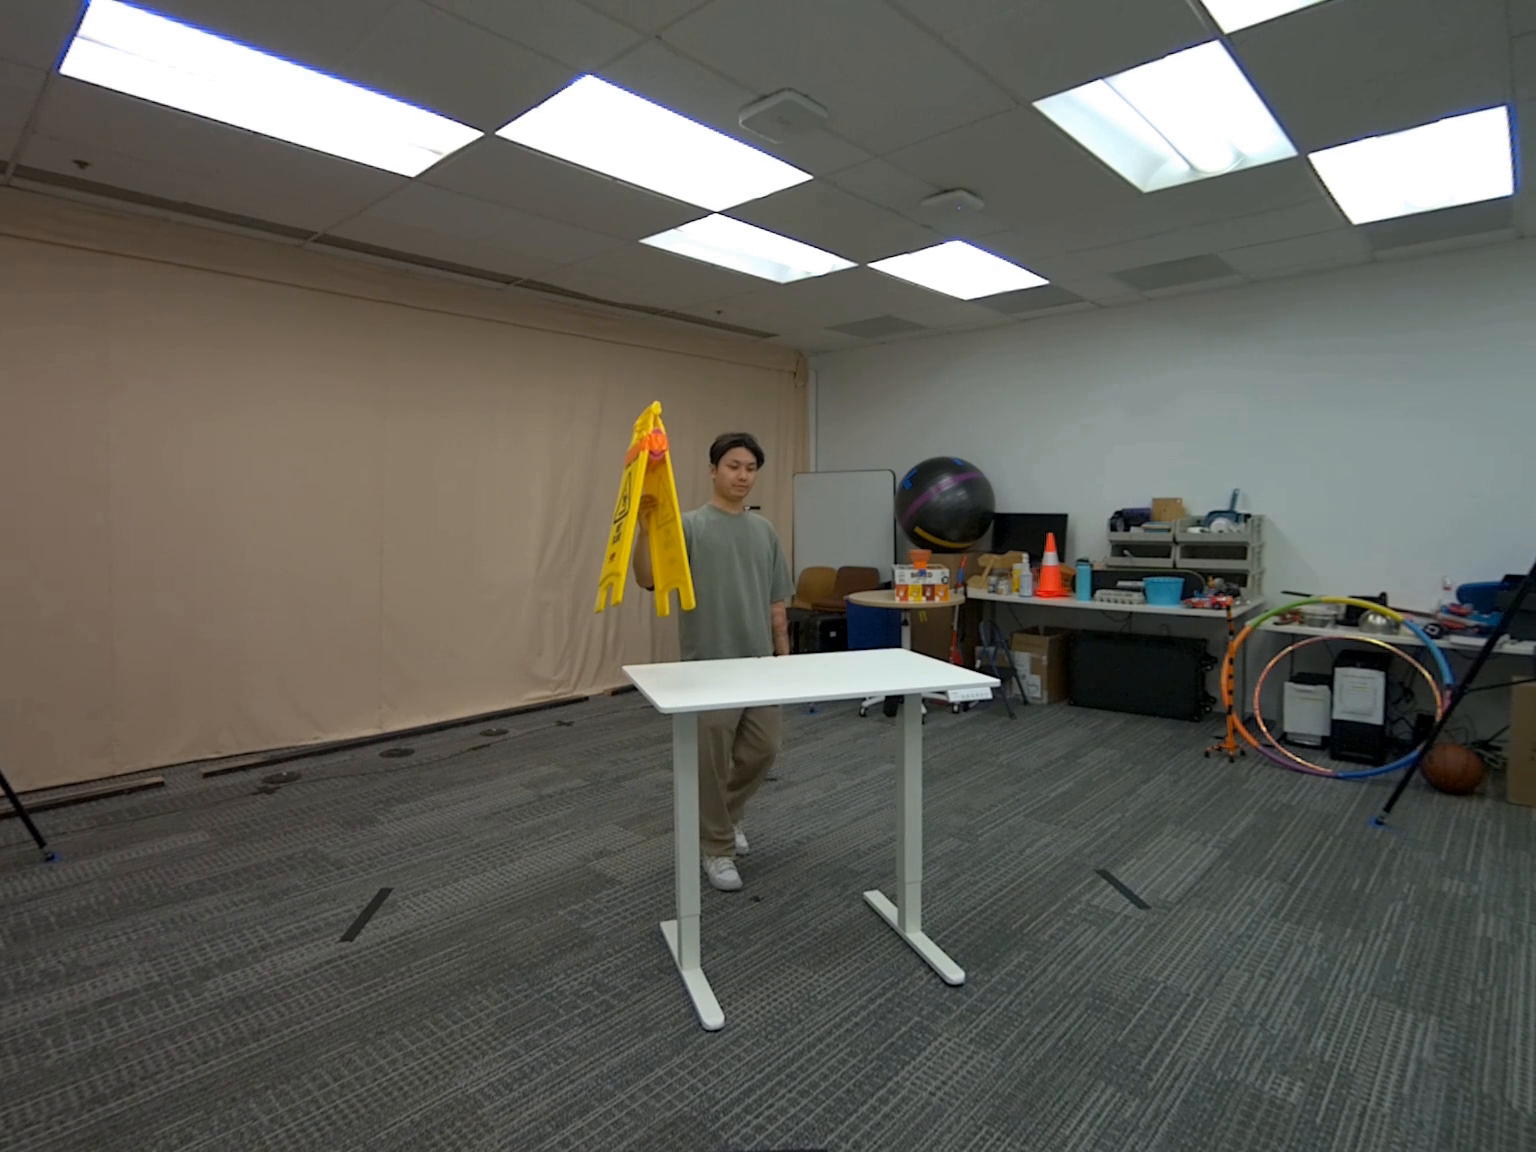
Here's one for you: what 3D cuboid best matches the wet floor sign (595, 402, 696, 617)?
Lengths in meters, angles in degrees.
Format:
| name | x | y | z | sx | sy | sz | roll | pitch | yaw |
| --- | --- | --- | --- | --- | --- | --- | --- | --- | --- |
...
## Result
| name | x | y | z | sx | sy | sz | roll | pitch | yaw |
| --- | --- | --- | --- | --- | --- | --- | --- | --- | --- |
| wet floor sign | -0.385 | -0.216 | 2.652 | 0.283 | 0.651 | 0.287 | 5 | -12 | -24 |
